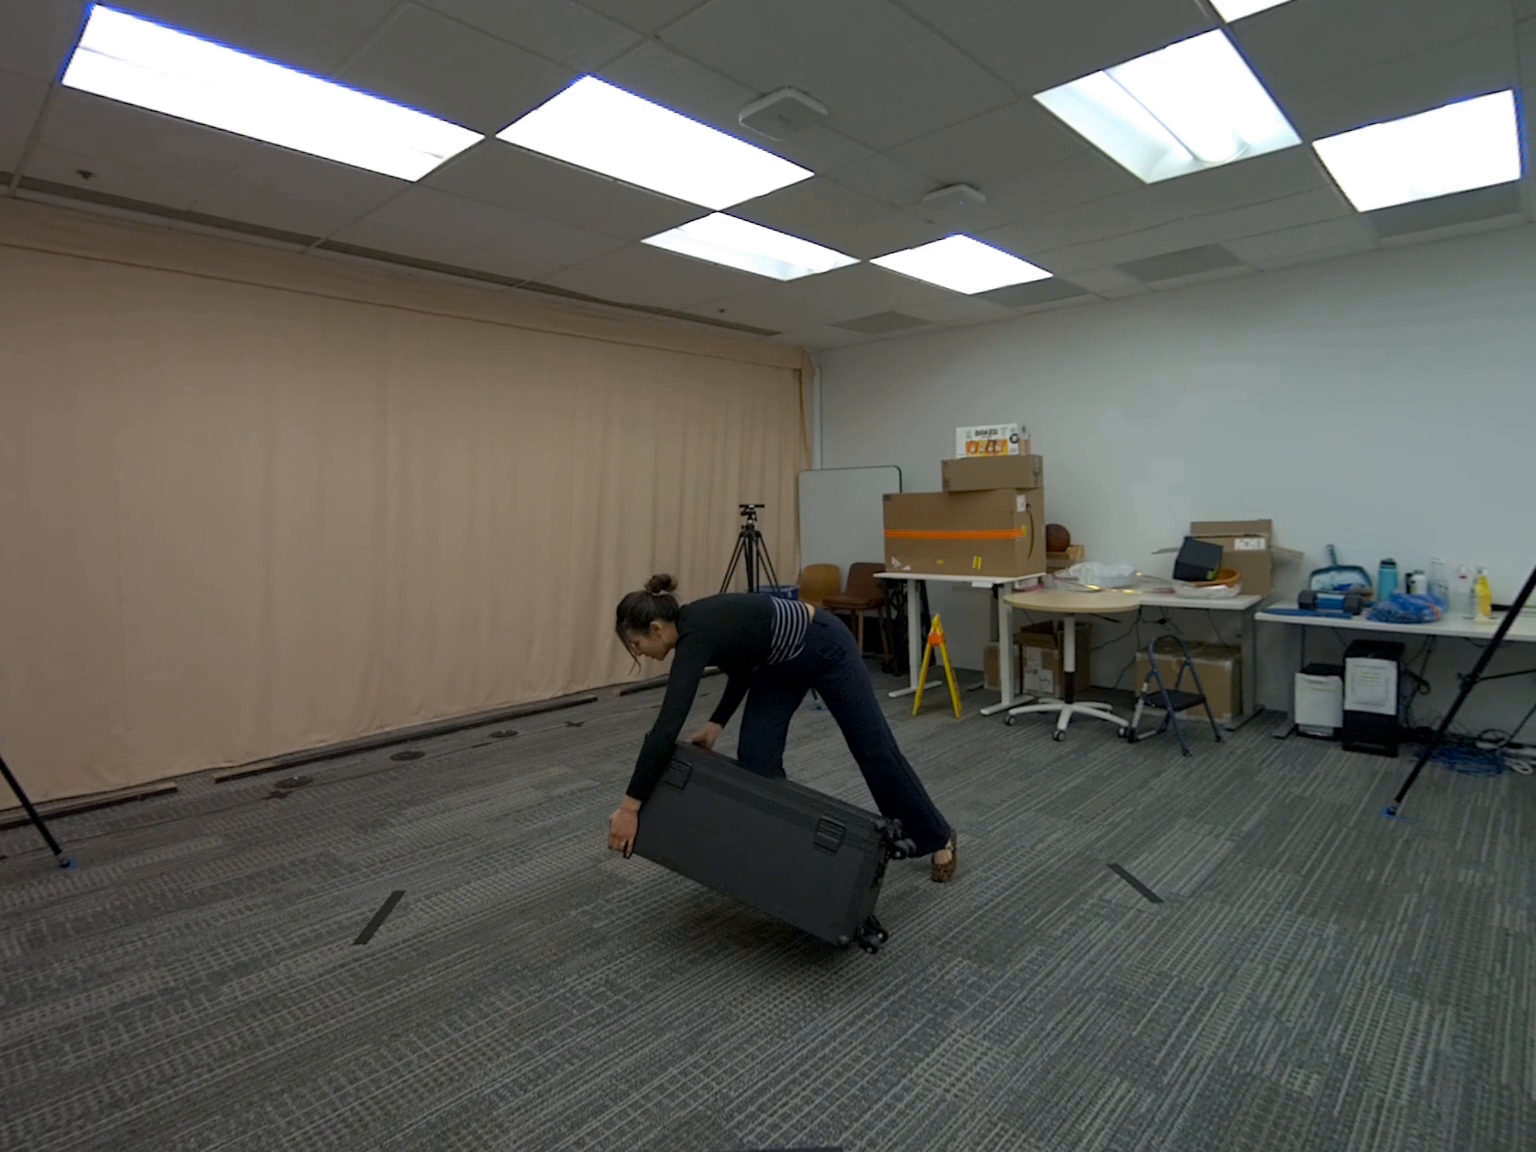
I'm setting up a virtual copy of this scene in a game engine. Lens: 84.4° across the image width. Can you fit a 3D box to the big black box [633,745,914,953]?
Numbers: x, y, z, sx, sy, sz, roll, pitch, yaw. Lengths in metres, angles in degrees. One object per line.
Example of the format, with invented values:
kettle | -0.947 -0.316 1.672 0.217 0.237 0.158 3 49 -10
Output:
big black box | 0.005 0.852 2.682 0.881 0.397 0.508 15 -13 19
